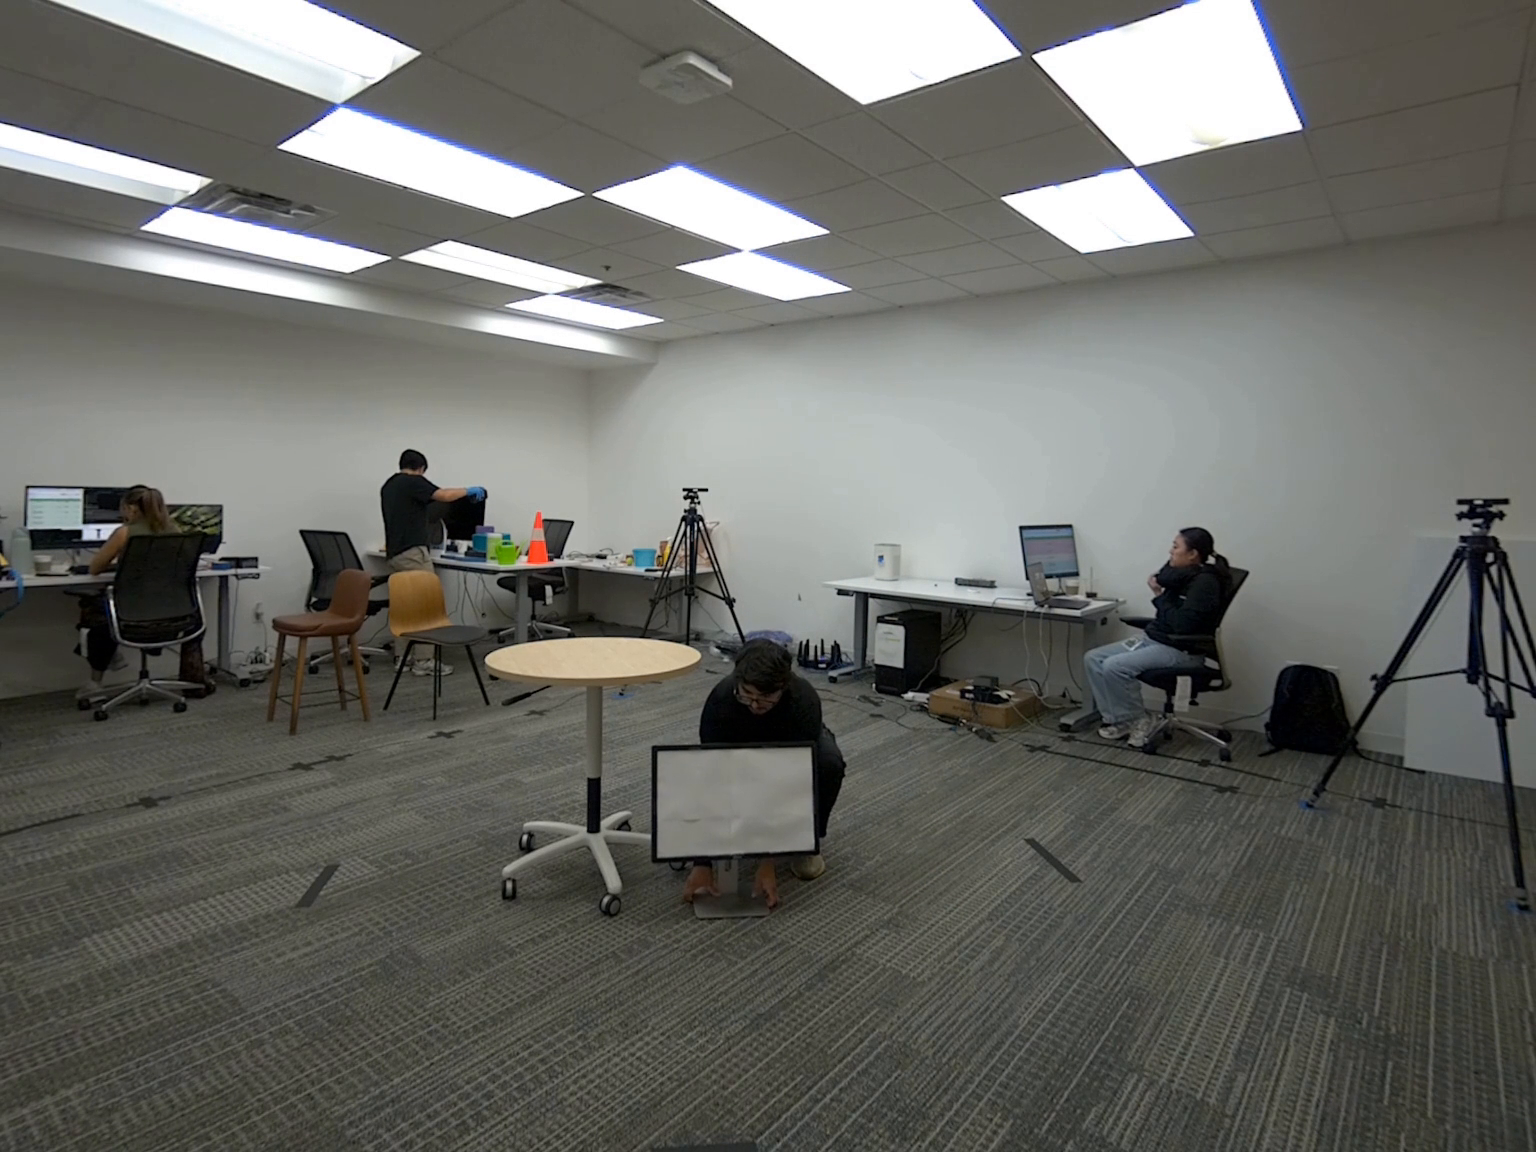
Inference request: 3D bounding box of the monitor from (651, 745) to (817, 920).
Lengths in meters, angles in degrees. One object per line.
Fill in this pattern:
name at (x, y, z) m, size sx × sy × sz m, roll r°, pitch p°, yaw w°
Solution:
monitor at (-0.133, 0.821, 2.855) m, size 0.557 × 0.555 × 0.212 m, roll 0°, pitch -3°, yaw -13°
